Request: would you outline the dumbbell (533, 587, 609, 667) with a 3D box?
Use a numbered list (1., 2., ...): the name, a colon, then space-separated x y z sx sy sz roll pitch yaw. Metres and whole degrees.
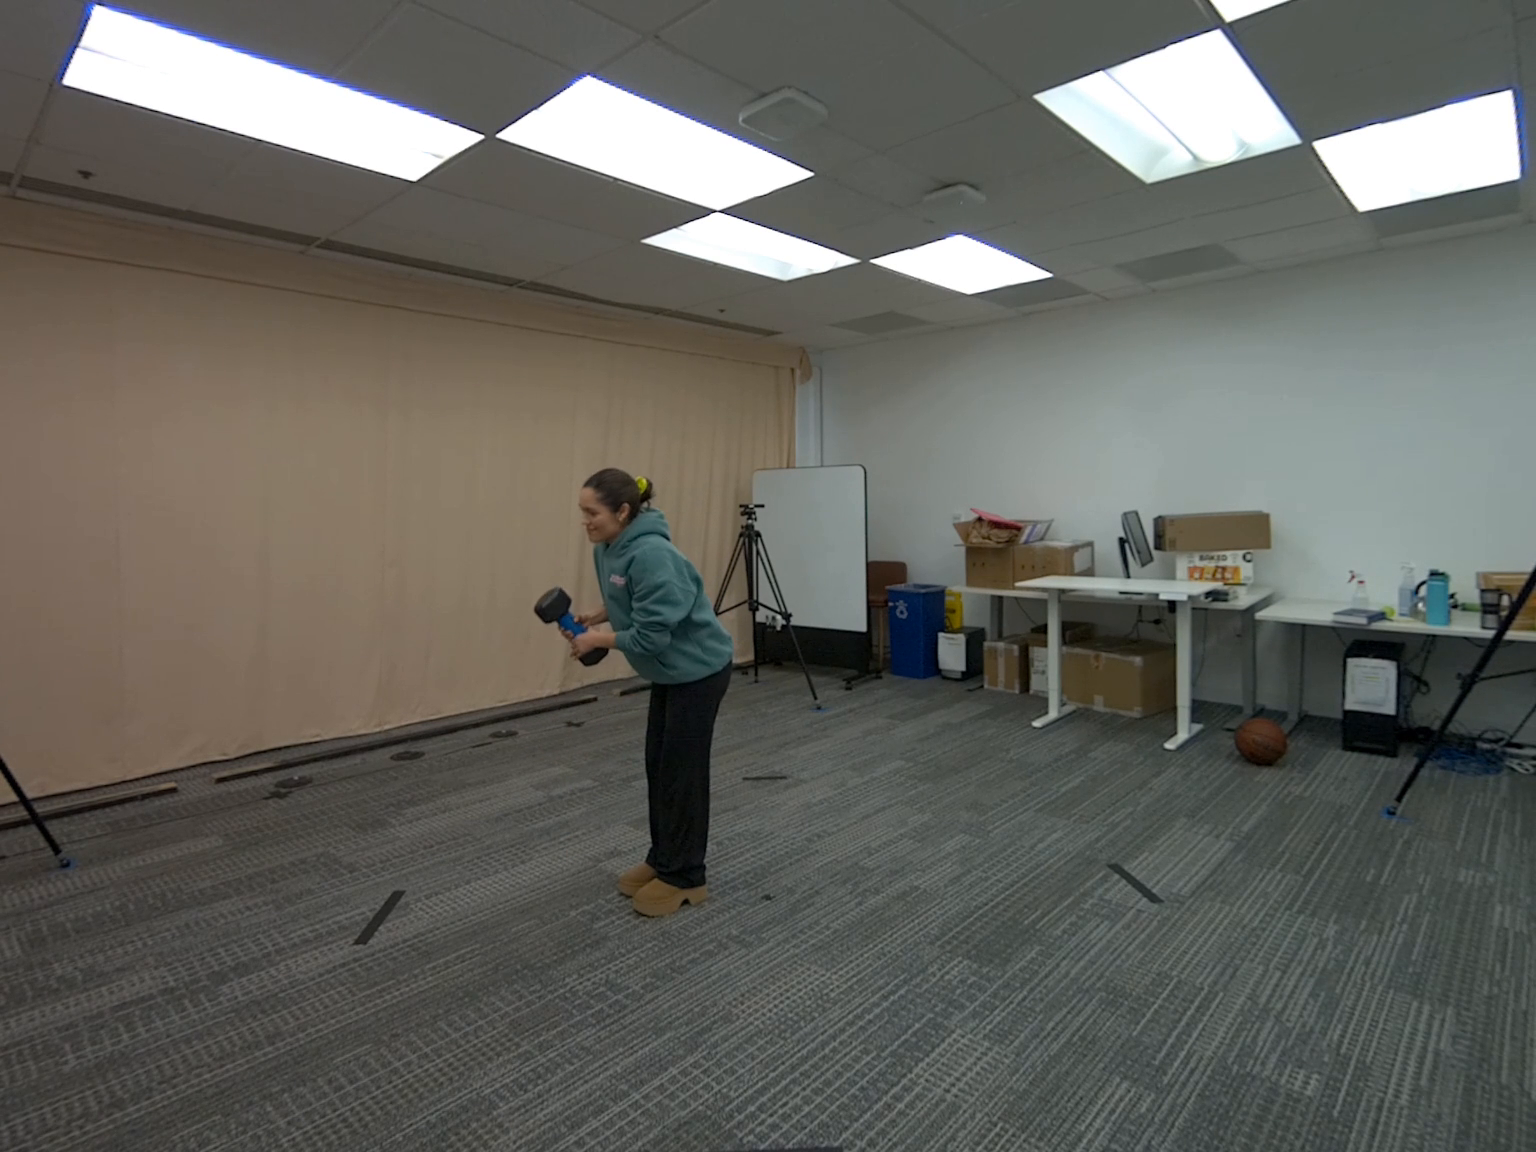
1. dumbbell: -0.678 0.188 2.918 0.122 0.288 0.111 -41 16 -11
